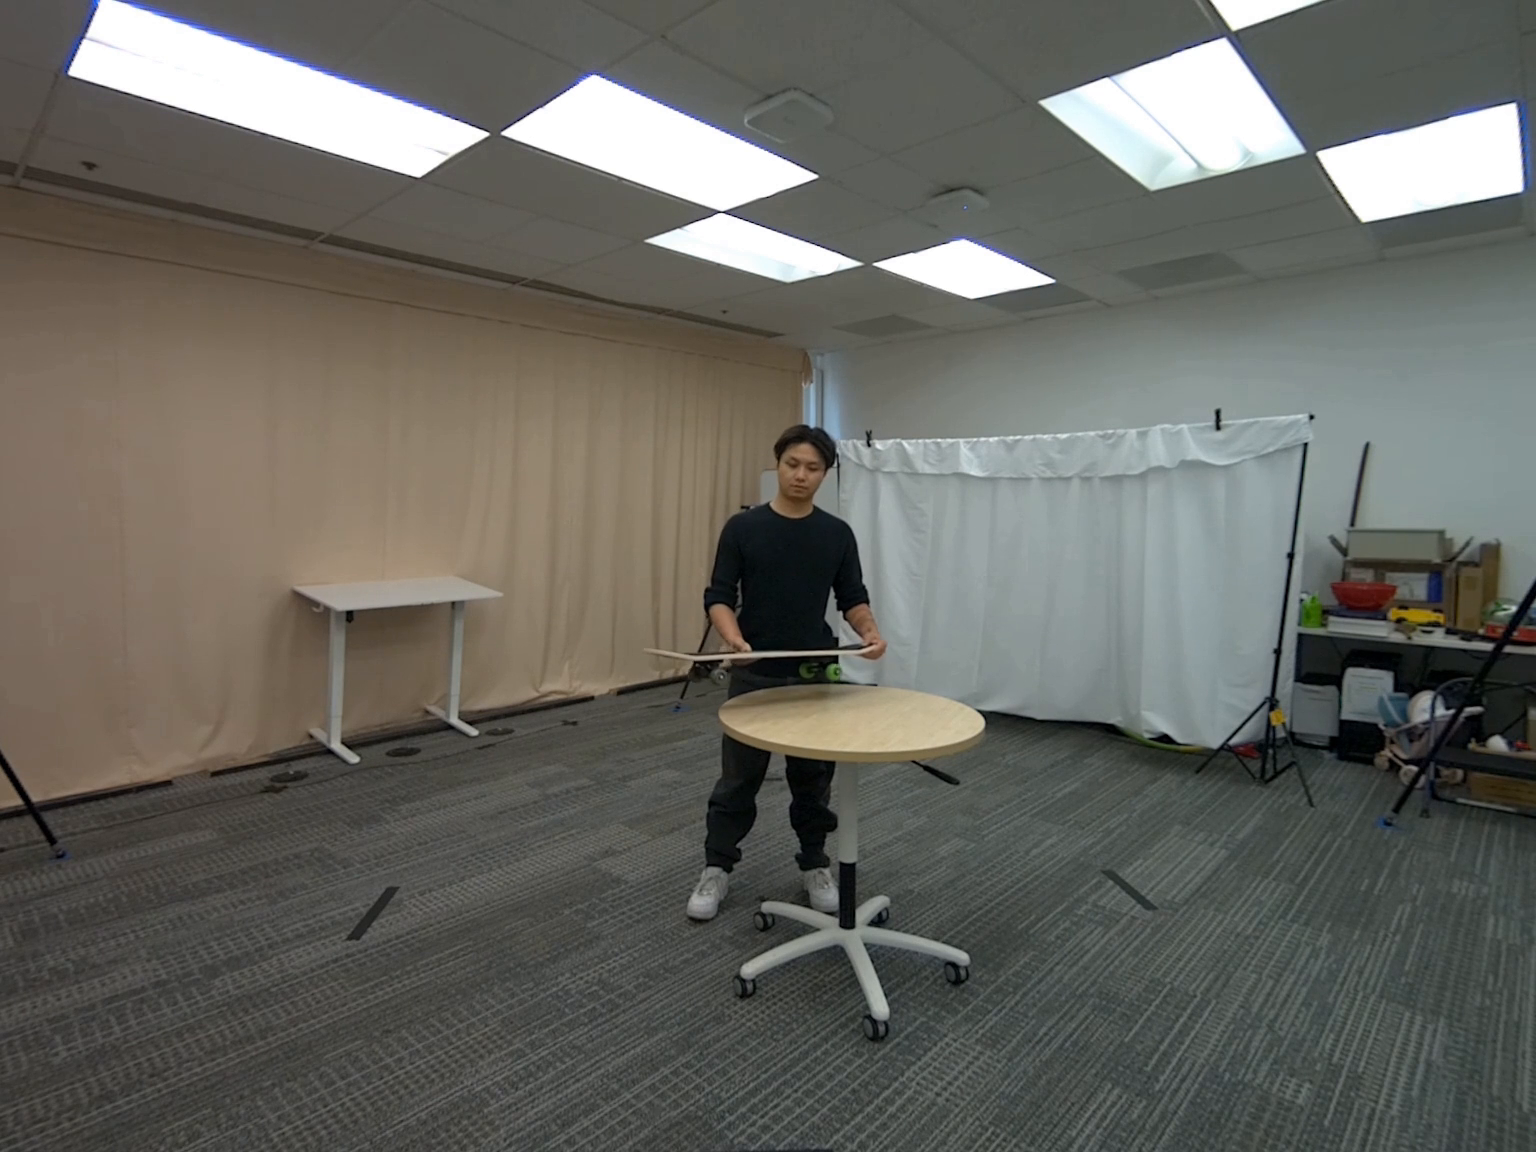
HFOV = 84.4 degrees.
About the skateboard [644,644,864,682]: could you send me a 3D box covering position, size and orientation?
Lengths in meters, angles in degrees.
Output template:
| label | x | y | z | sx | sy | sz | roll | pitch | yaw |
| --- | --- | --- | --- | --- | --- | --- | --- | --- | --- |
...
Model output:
| label | x | y | z | sx | sy | sz | roll | pitch | yaw |
| --- | --- | --- | --- | --- | --- | --- | --- | --- | --- |
| skateboard | -0.008 | 0.275 | 2.583 | 0.765 | 0.111 | 0.198 | 1 | -4 | -26 |
